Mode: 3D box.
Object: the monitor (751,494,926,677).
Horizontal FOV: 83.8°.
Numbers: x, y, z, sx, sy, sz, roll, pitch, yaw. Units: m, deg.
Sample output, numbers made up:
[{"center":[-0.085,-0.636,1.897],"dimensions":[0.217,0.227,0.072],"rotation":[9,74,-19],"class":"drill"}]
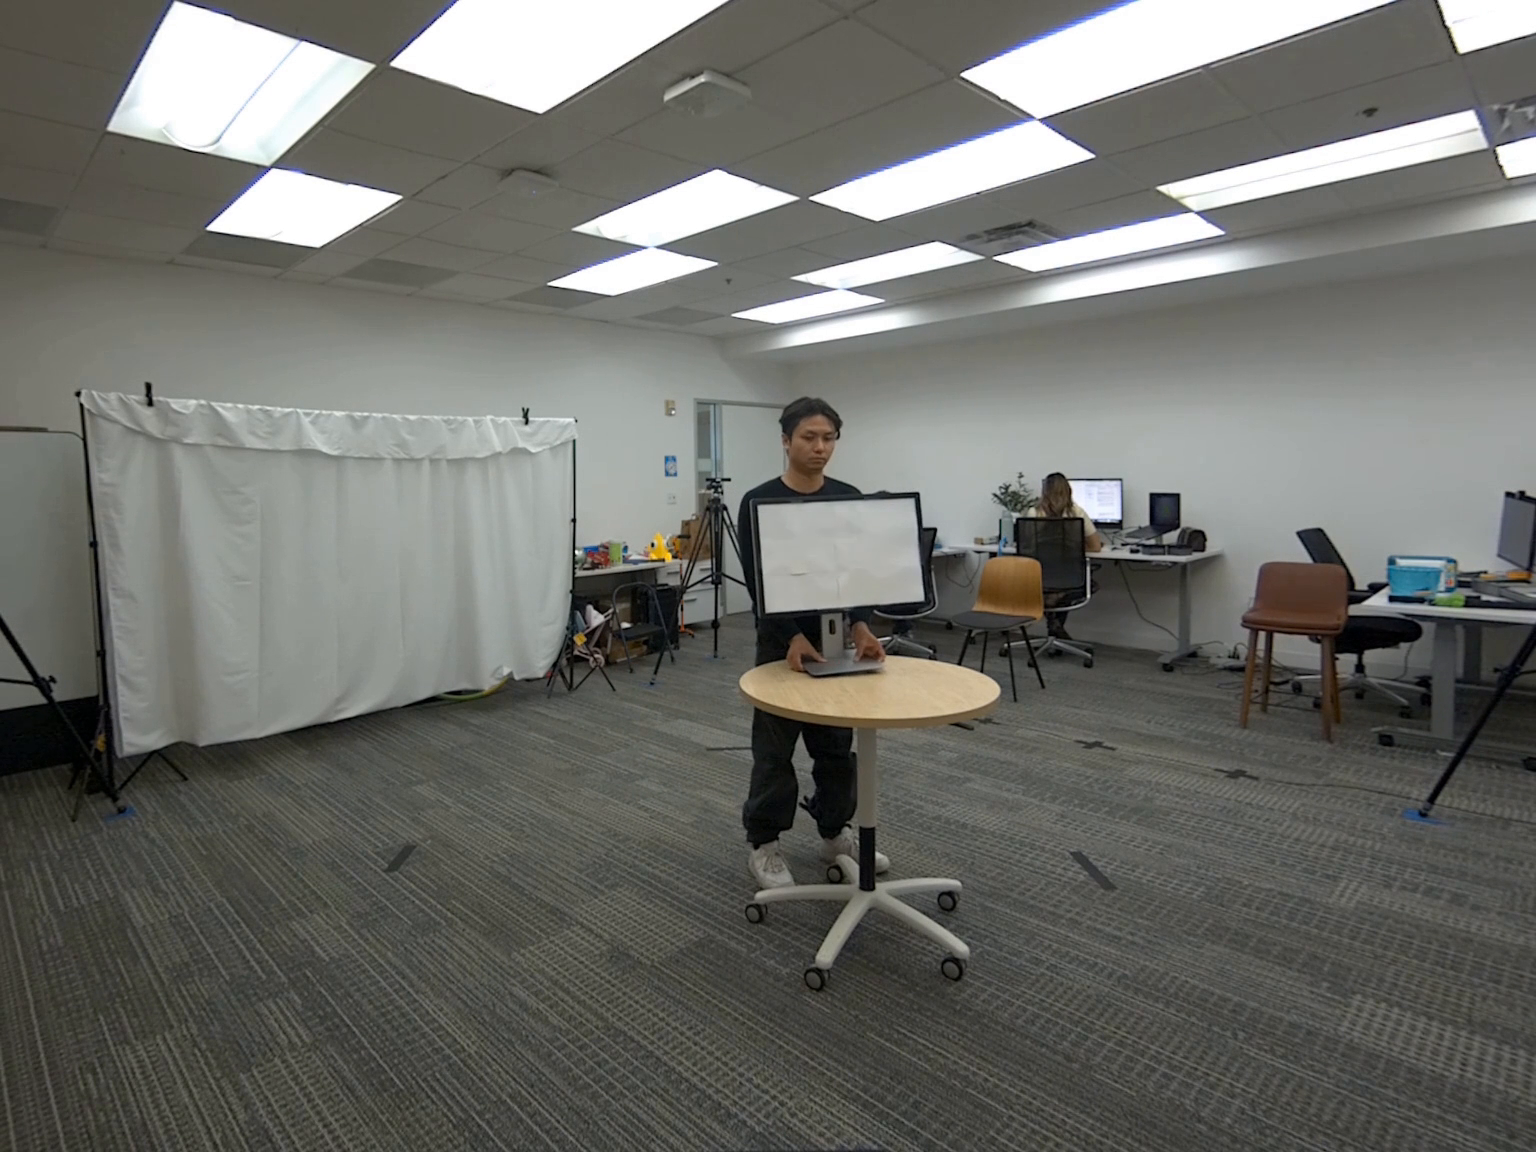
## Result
[{"center":[0.222,0.023,2.695],"dimensions":[0.531,0.519,0.191],"rotation":[-4,8,-17],"class":"monitor"}]
